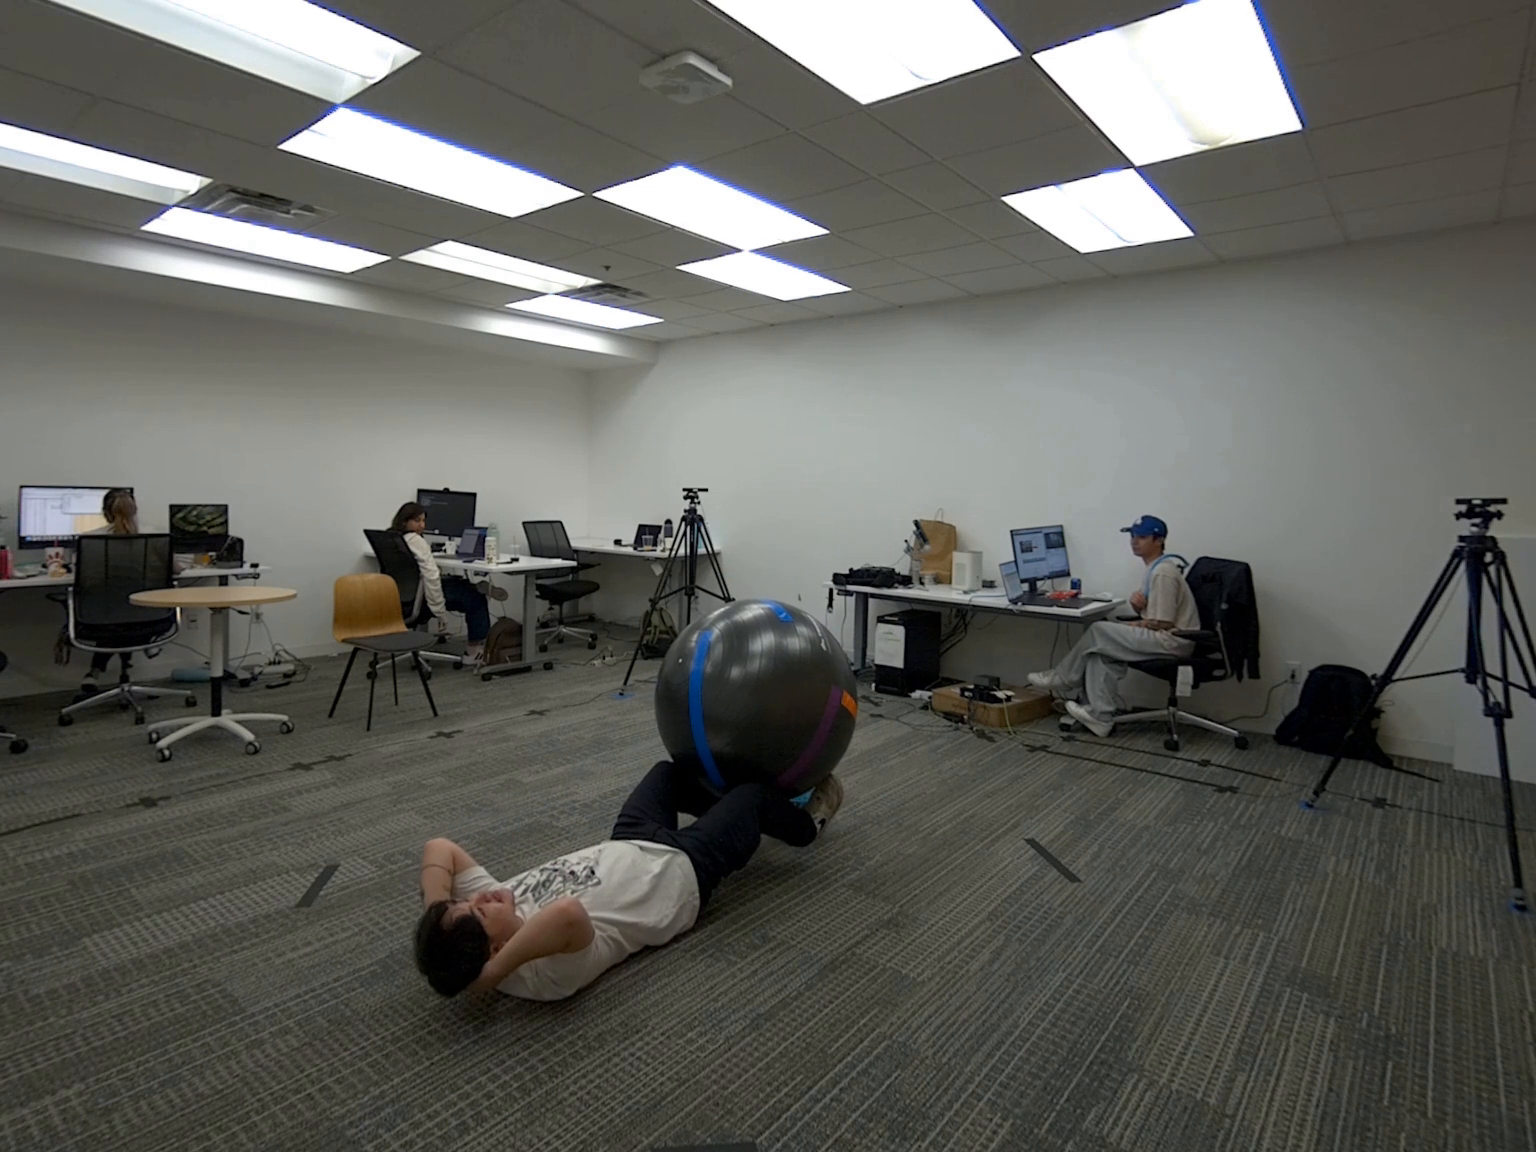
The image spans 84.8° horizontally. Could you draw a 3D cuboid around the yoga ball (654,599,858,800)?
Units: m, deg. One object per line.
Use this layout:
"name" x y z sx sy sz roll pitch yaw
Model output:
"yoga ball" -0.055 0.459 3.195 0.757 0.755 0.762 1 4 -2
